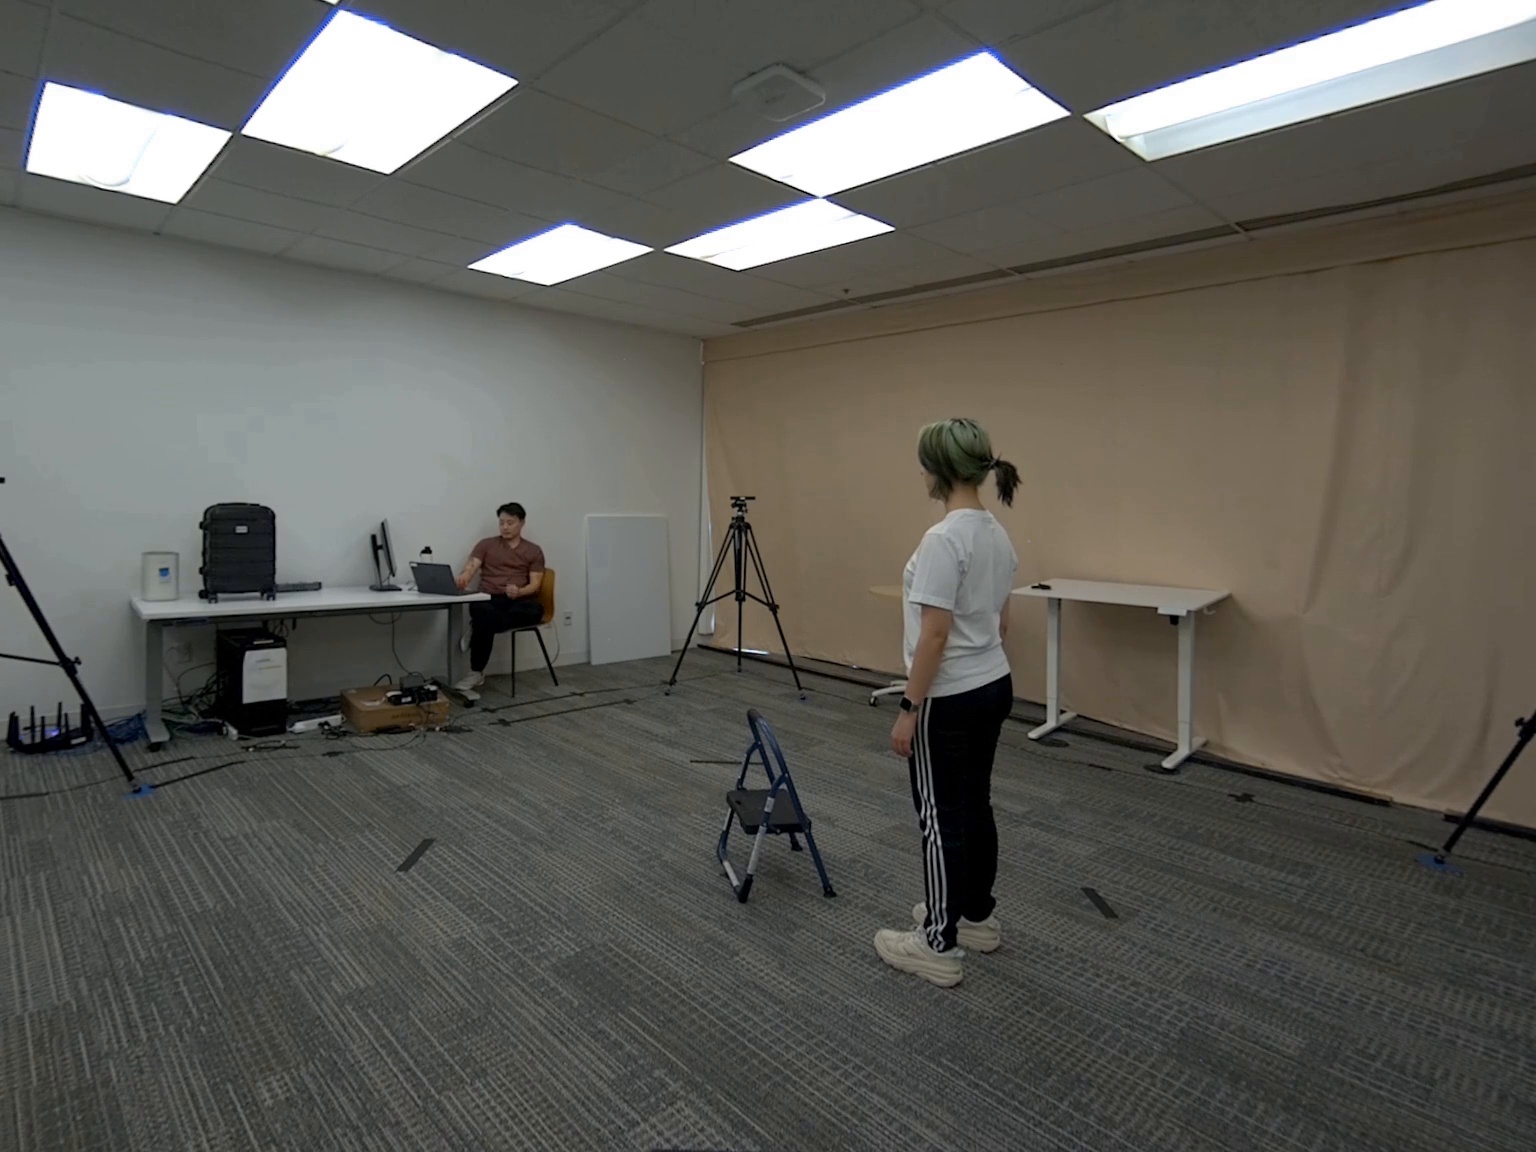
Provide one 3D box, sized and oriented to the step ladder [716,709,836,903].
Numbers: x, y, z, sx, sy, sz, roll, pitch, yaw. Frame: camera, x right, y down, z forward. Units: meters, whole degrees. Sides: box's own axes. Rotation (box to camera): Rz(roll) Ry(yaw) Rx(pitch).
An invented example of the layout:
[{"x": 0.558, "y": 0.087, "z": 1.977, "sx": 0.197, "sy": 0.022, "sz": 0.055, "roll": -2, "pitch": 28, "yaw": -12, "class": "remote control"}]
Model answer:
[{"x": 0.016, "y": 0.806, "z": 3.106, "sx": 0.345, "sy": 0.605, "sz": 0.436, "roll": 0, "pitch": 3, "yaw": -15, "class": "step ladder"}]
